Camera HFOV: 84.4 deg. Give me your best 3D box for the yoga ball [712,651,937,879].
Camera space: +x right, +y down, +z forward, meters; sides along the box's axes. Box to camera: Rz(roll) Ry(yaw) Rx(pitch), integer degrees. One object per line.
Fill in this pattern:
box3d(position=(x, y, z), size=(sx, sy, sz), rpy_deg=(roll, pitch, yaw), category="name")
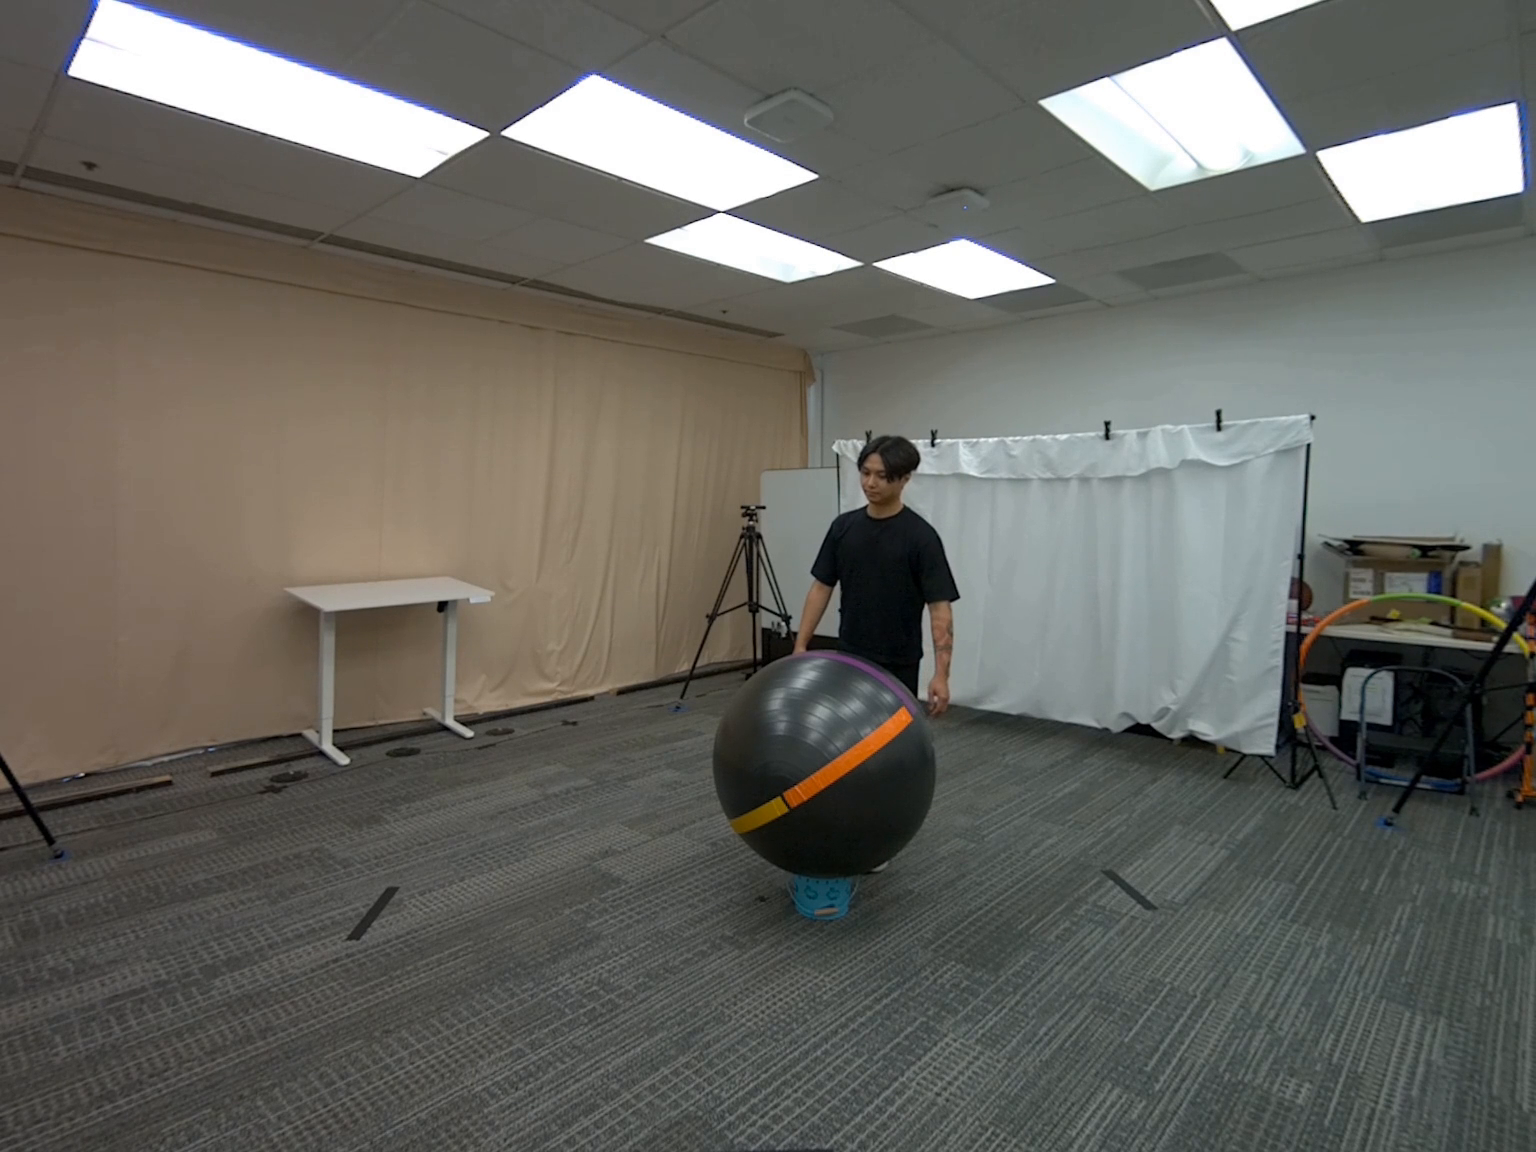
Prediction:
box3d(position=(0.191, 0.638, 2.890), size=(0.757, 0.756, 0.761), rpy_deg=(0, 4, -2), category="yoga ball")
